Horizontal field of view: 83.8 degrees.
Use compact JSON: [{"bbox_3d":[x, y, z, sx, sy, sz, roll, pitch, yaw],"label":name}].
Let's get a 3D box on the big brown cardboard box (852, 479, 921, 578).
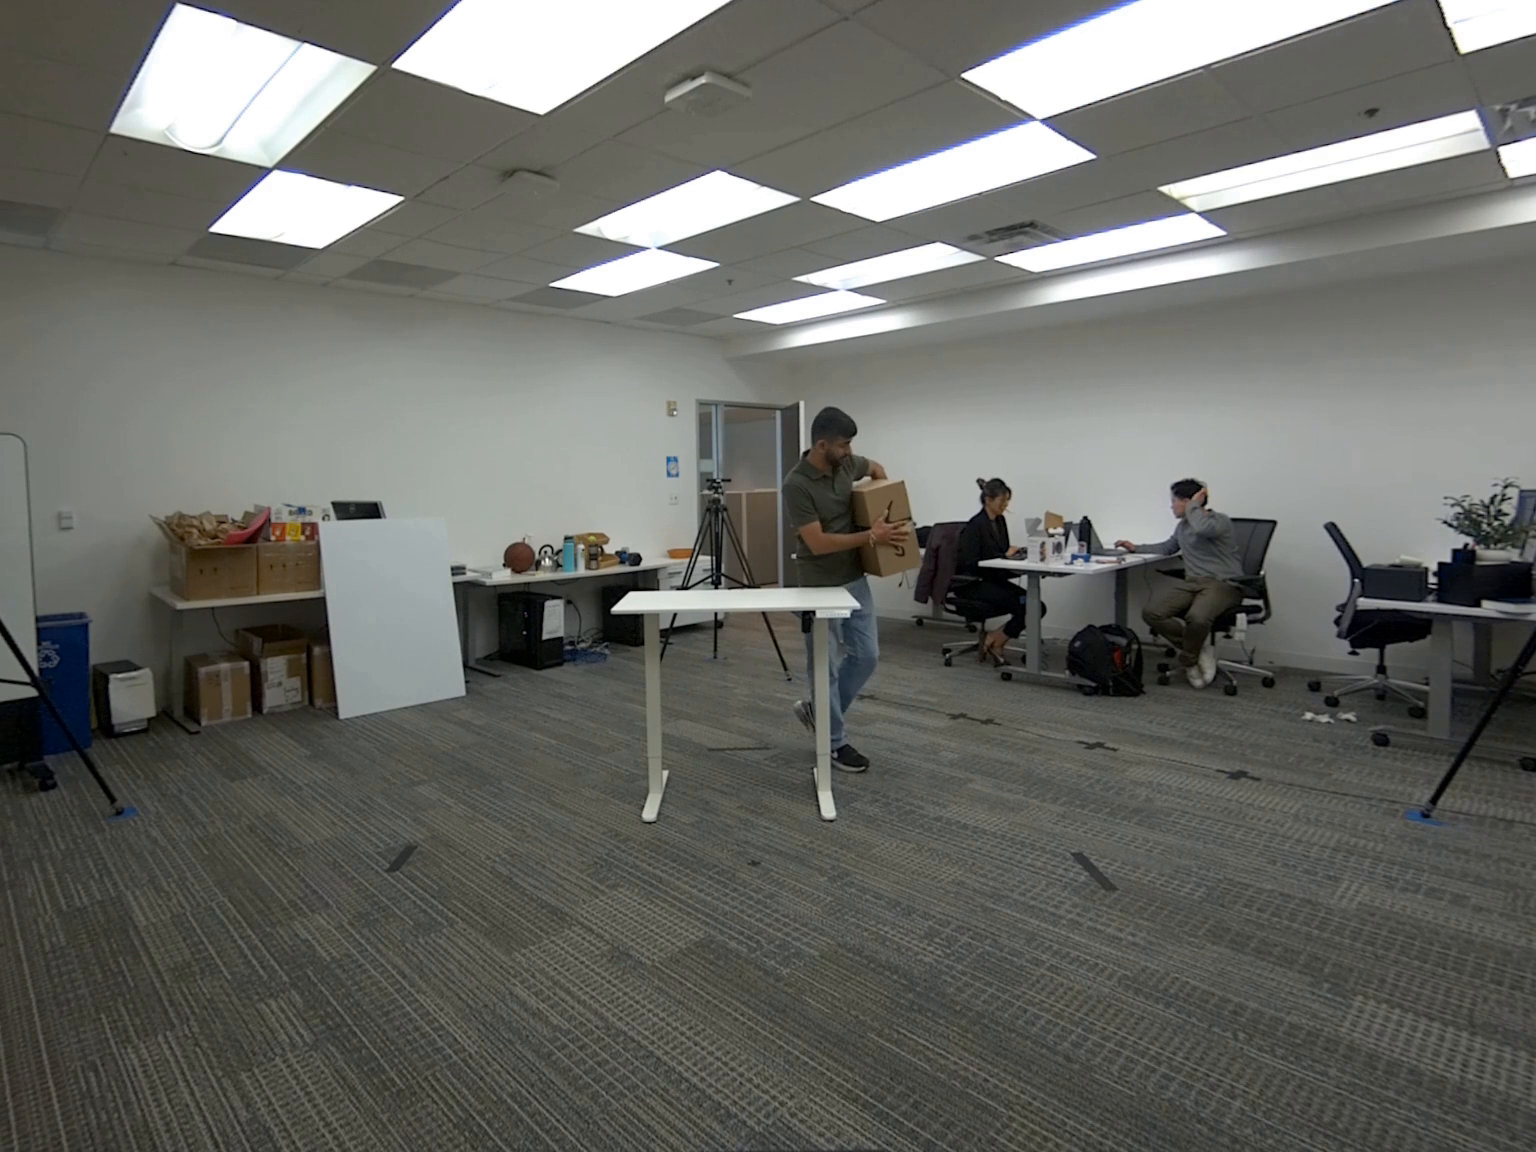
[{"bbox_3d":[0.502,-0.251,4.237,0.231,0.413,0.600,-15,10,-14],"label":"big brown cardboard box"}]
